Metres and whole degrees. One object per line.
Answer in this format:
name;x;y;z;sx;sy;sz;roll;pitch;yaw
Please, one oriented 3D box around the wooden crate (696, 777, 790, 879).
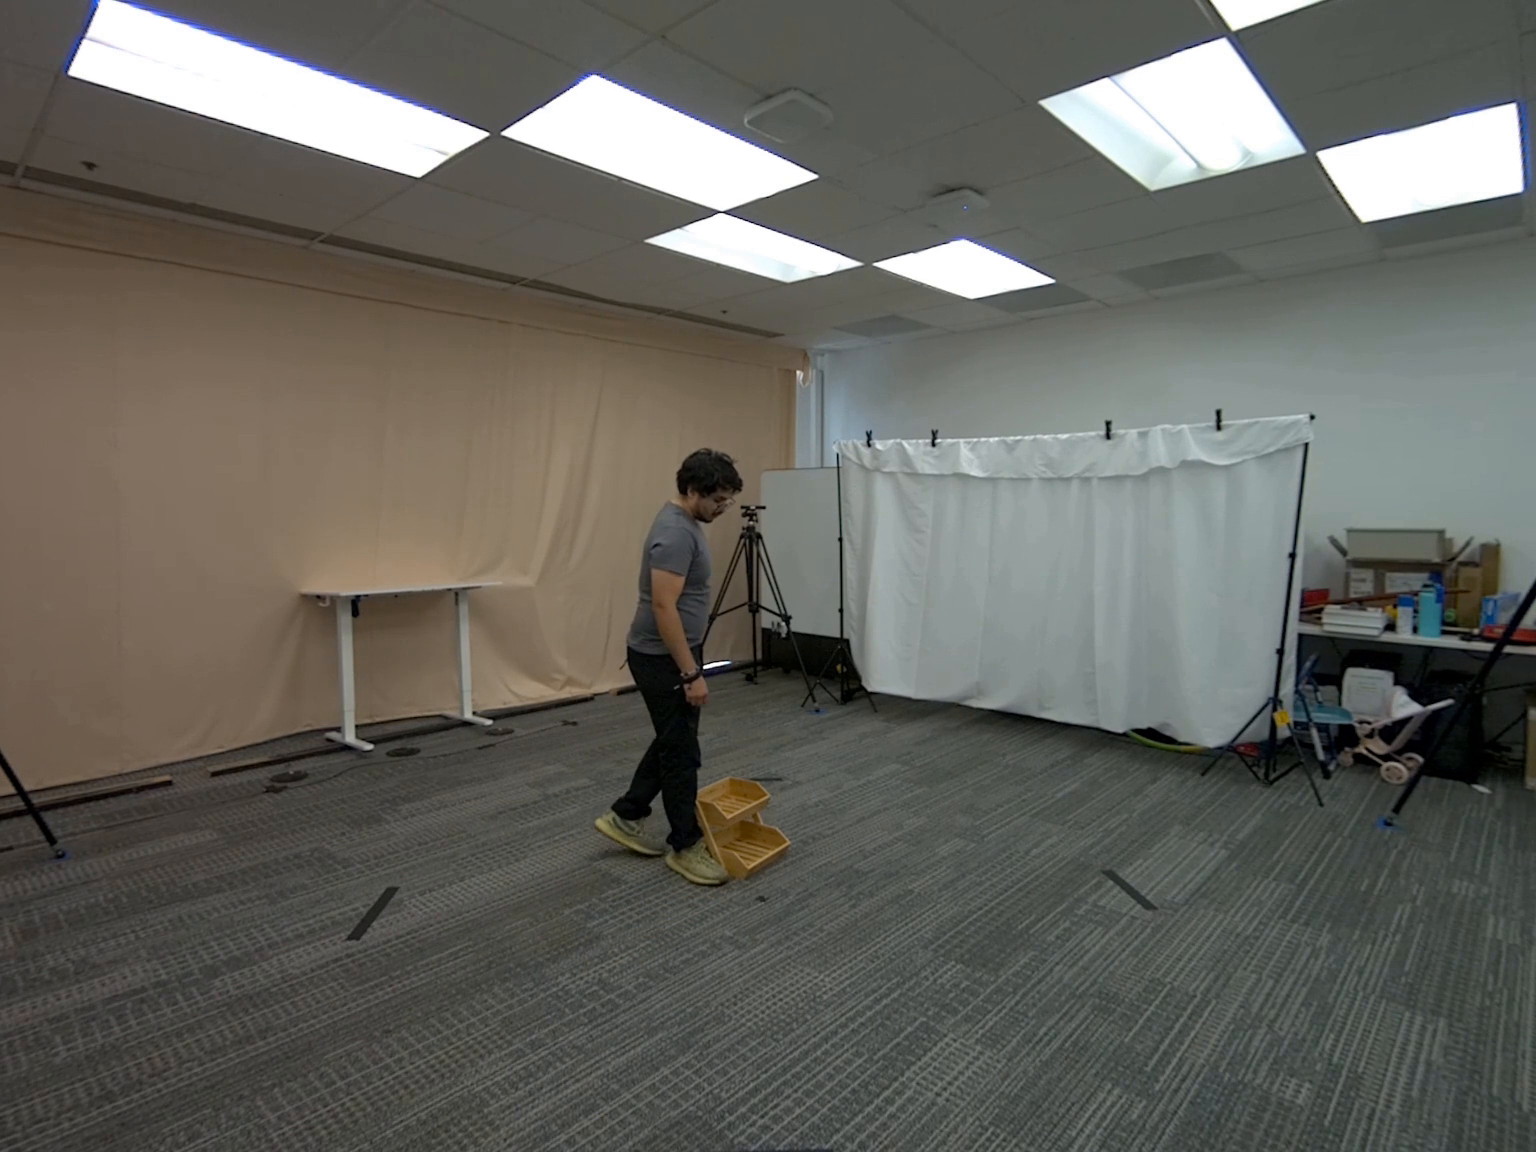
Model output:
wooden crate;-0.112;0.983;3.321;0.311;0.273;0.315;1;5;35
